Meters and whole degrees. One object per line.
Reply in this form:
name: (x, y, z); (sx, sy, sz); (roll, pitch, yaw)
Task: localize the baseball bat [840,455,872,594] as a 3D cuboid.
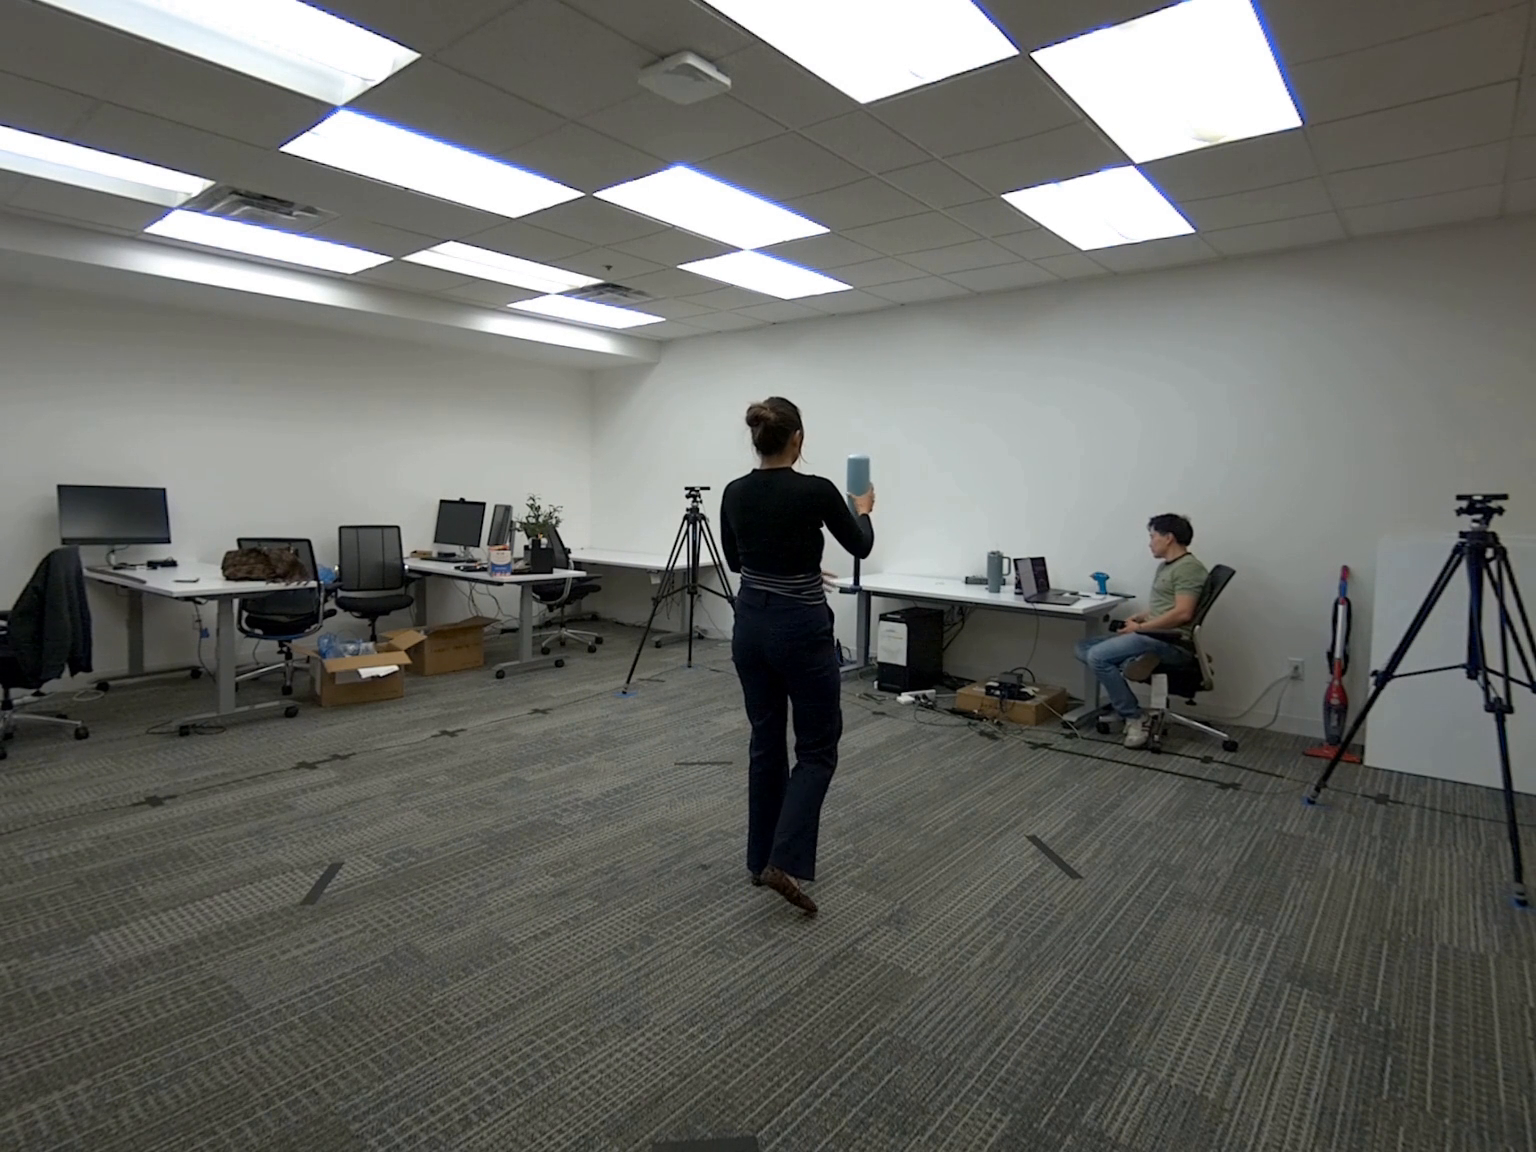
baseball bat: (0.347, -0.197, 3.318); (0.089, 0.537, 0.090); (0, 12, -2)
